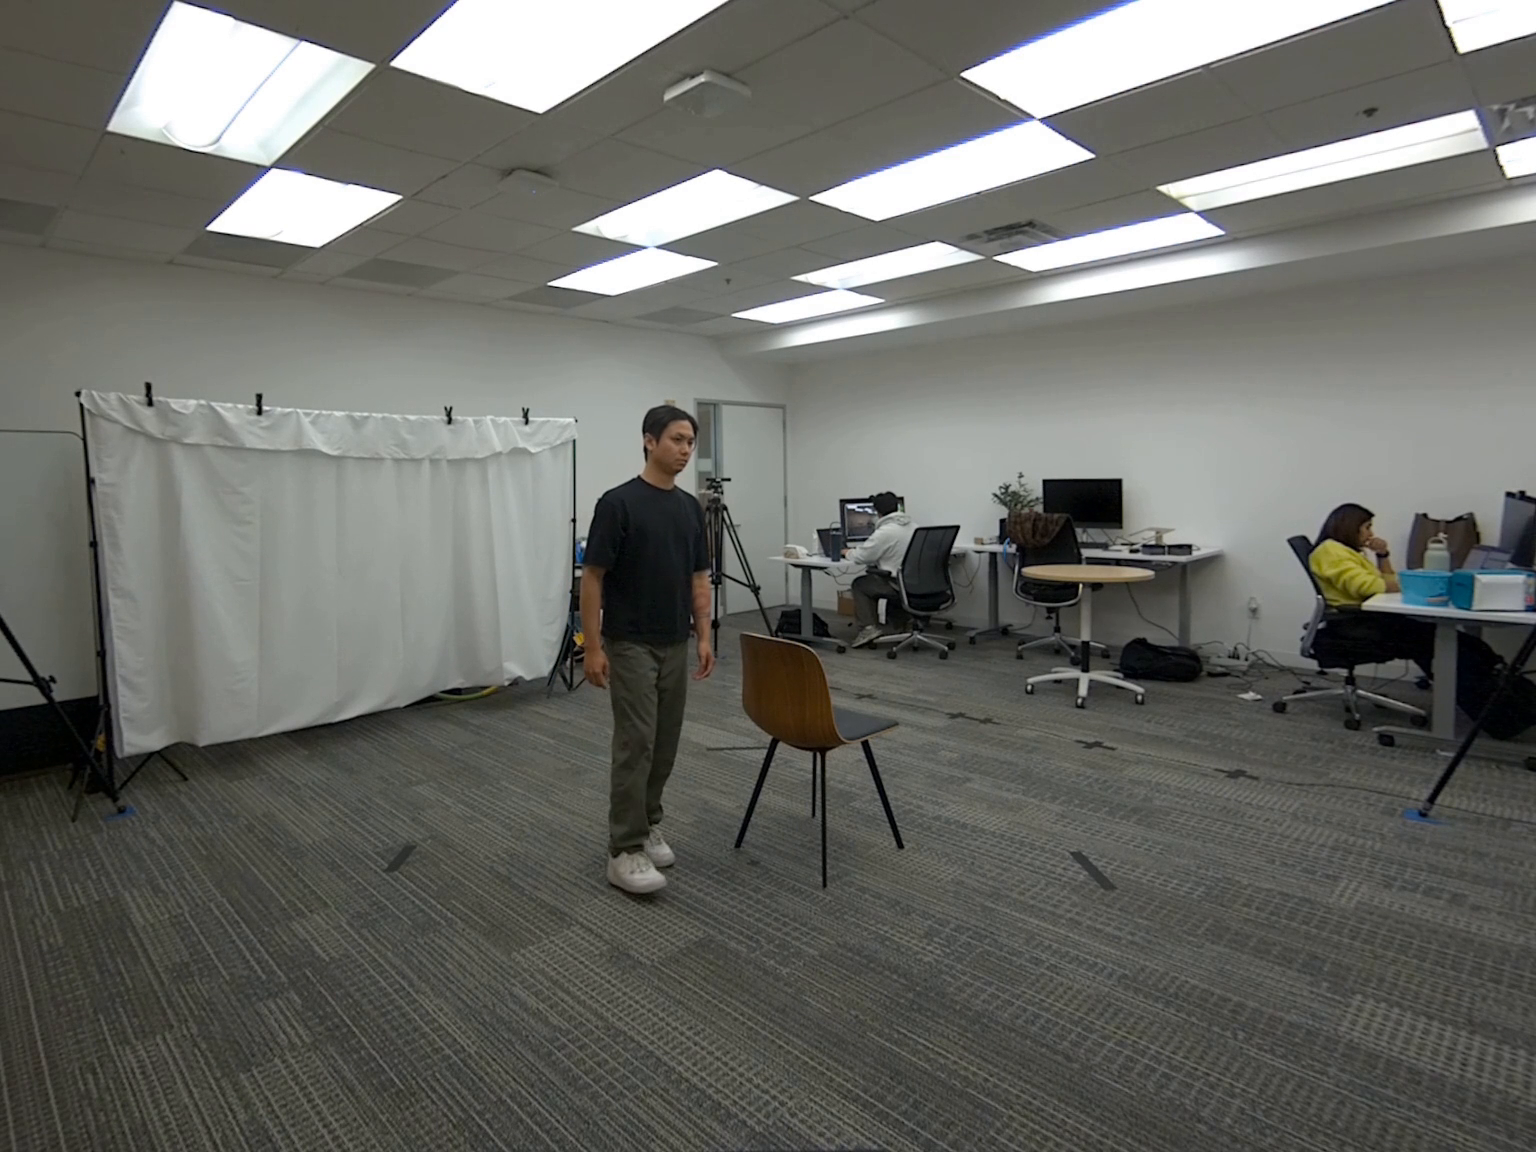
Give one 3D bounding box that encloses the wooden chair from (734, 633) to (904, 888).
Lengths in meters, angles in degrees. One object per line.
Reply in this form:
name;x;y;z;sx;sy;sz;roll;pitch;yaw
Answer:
wooden chair;0.190;0.597;3.188;0.511;0.871;0.493;-11;10;-43
